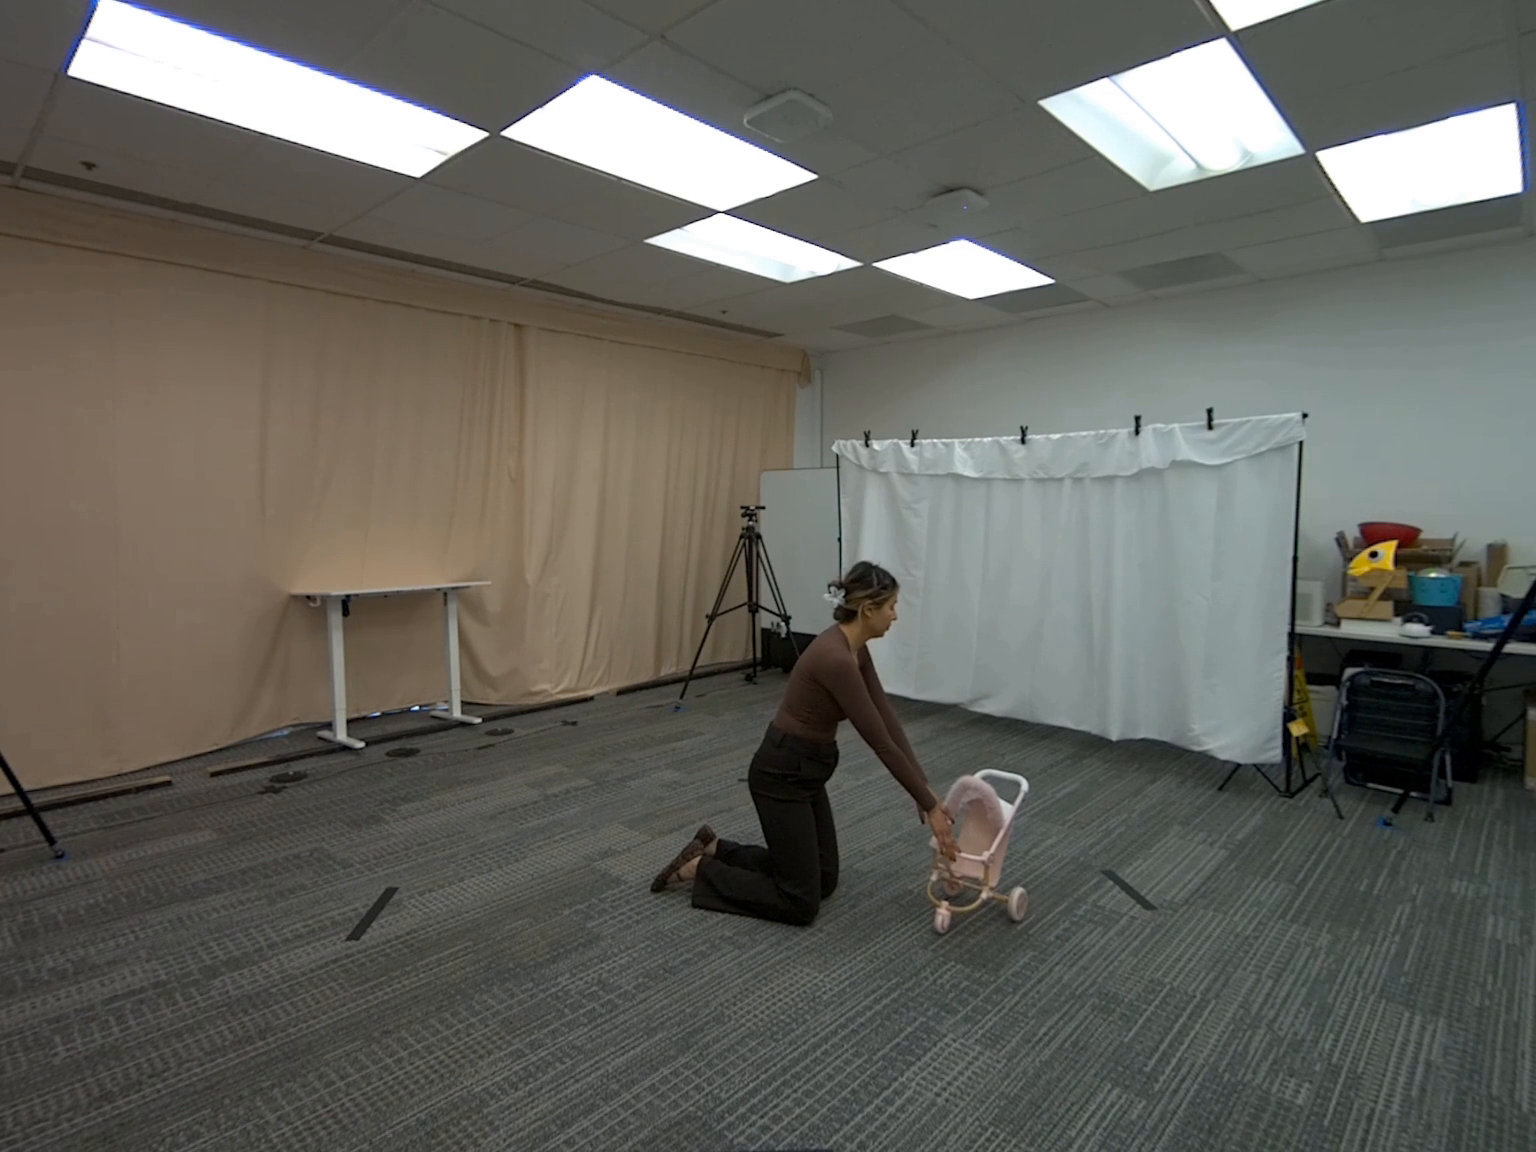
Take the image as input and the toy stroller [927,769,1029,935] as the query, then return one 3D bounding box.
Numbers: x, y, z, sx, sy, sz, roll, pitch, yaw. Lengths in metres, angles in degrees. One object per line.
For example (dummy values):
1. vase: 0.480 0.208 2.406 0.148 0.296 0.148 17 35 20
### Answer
1. toy stroller: 0.692 0.920 2.858 0.329 0.537 0.290 17 -11 -40
